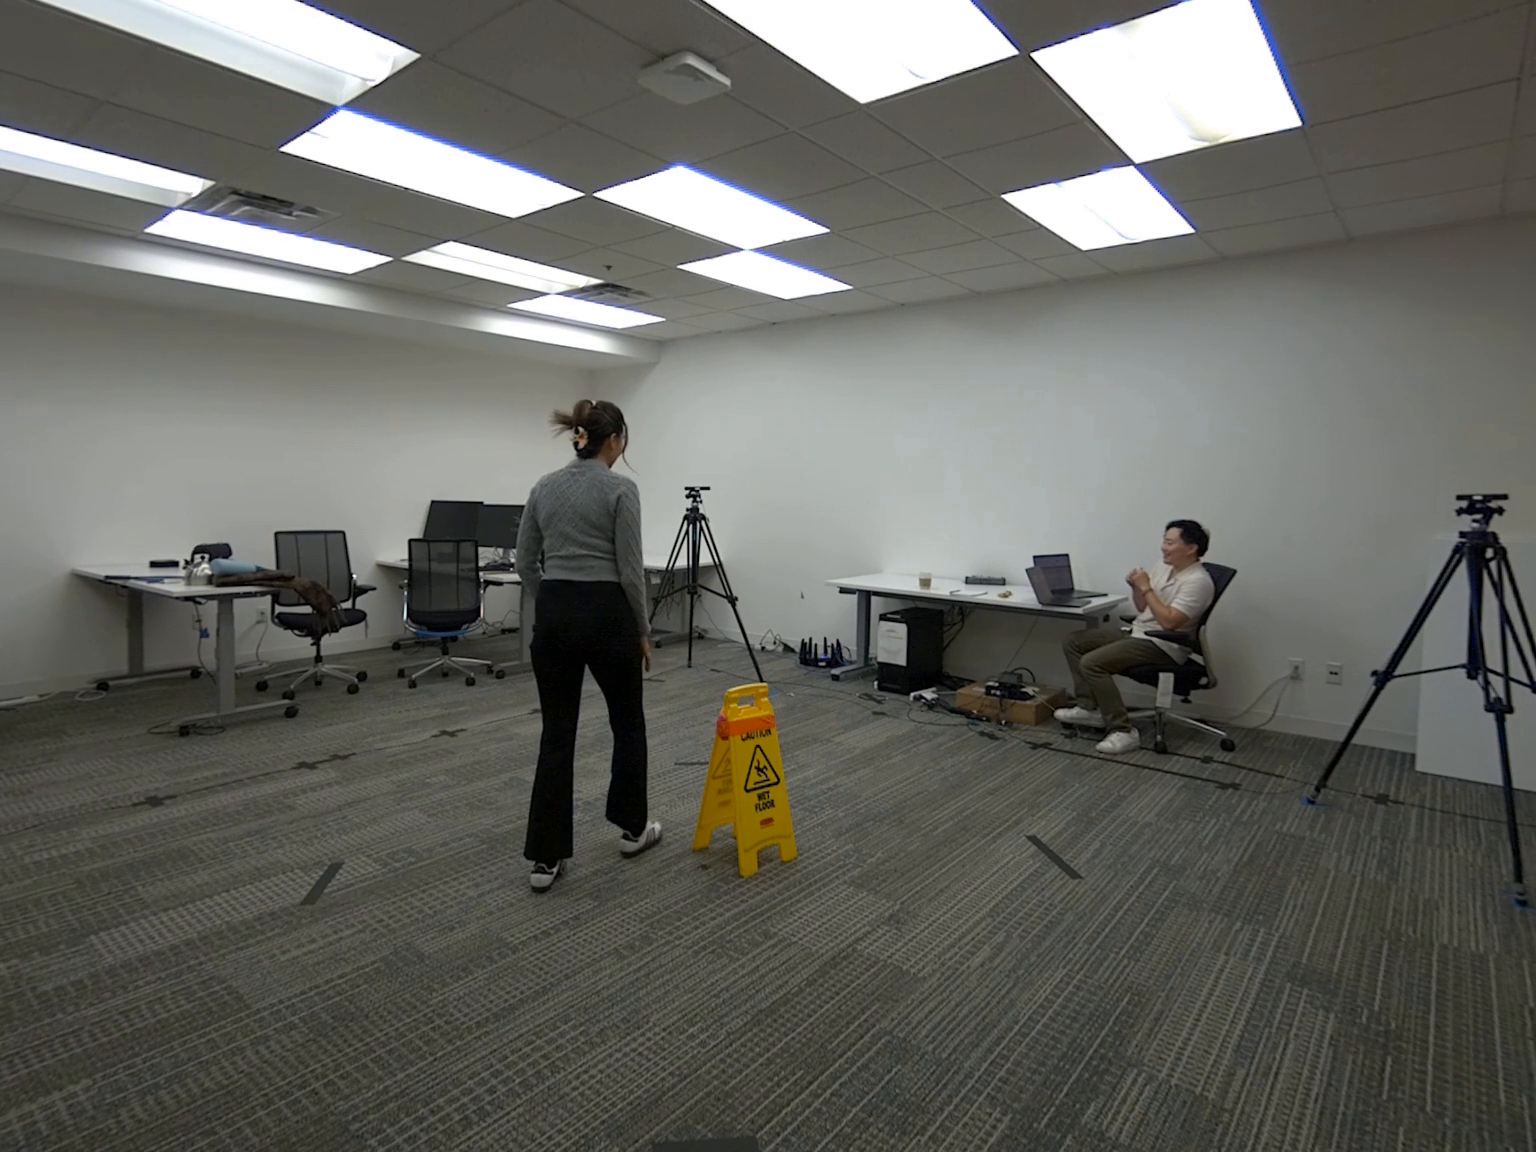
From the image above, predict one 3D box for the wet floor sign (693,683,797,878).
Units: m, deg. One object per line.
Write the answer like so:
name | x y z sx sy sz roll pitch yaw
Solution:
wet floor sign | -0.091 0.736 3.219 0.274 0.644 0.299 -2 5 -41
